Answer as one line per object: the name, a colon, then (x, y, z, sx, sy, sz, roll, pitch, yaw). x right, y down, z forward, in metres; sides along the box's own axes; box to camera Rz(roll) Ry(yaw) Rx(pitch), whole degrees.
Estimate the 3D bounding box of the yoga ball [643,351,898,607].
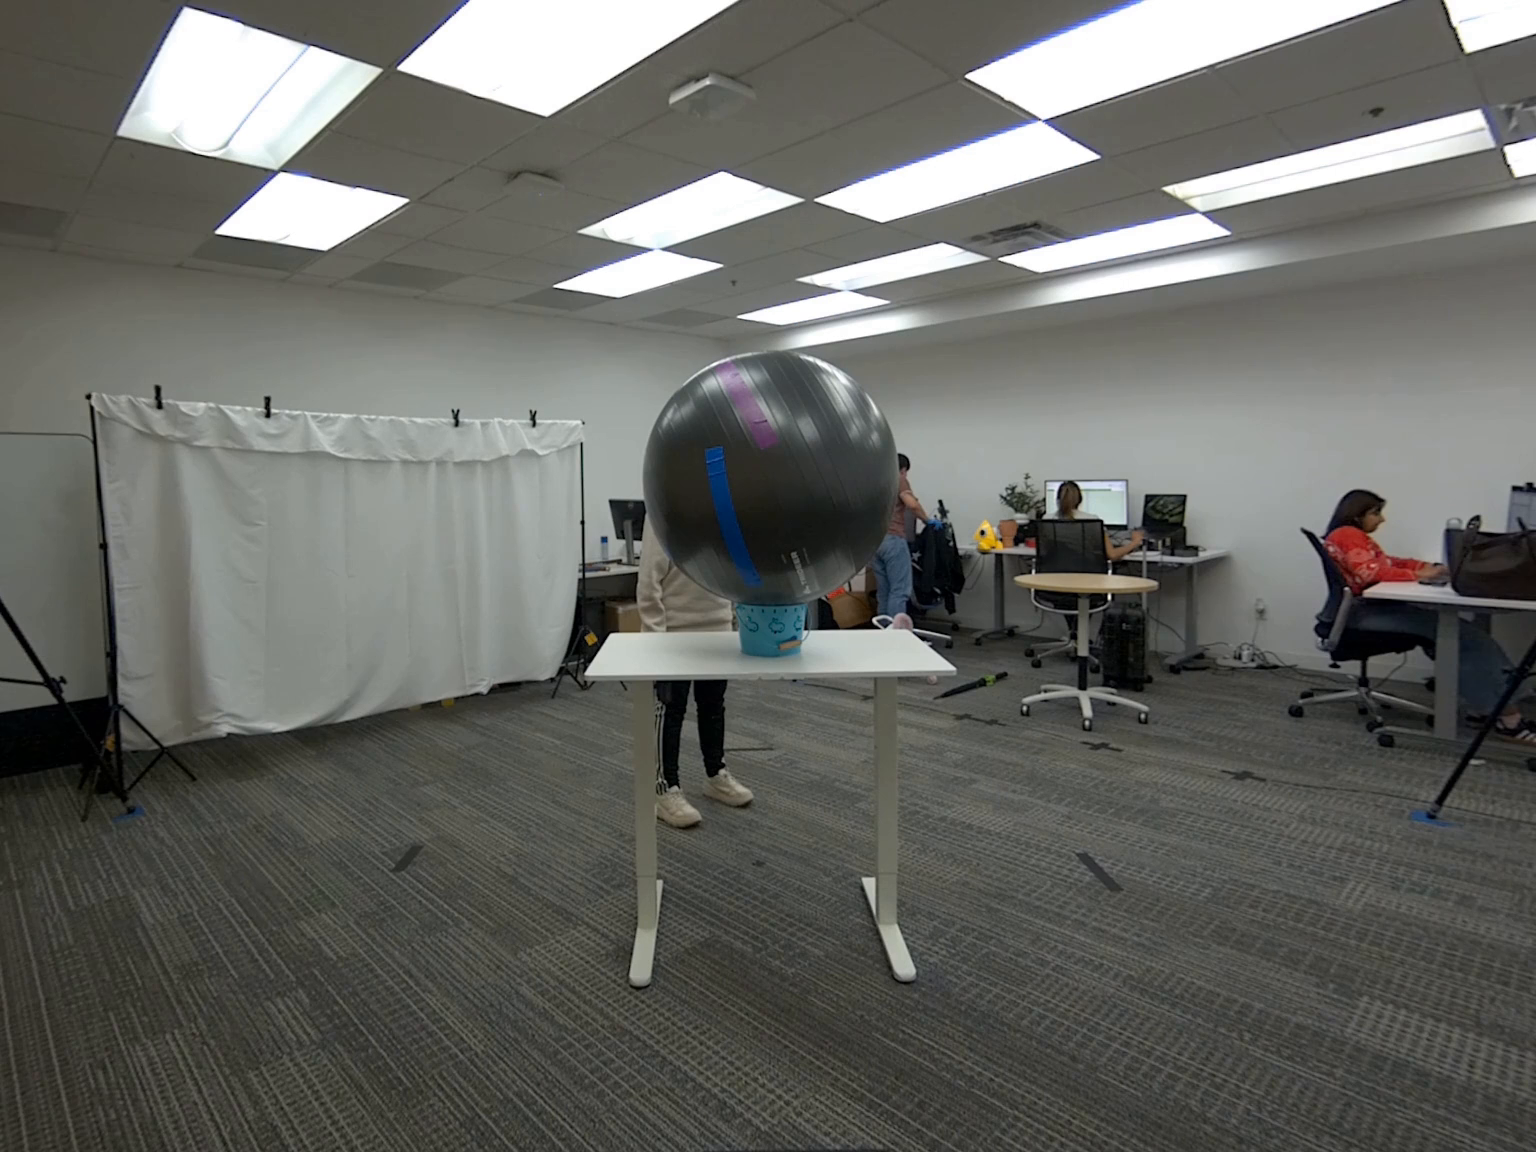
yoga ball: (0.006, -0.283, 2.548, 0.757, 0.755, 0.762, -1, 5, -2)
